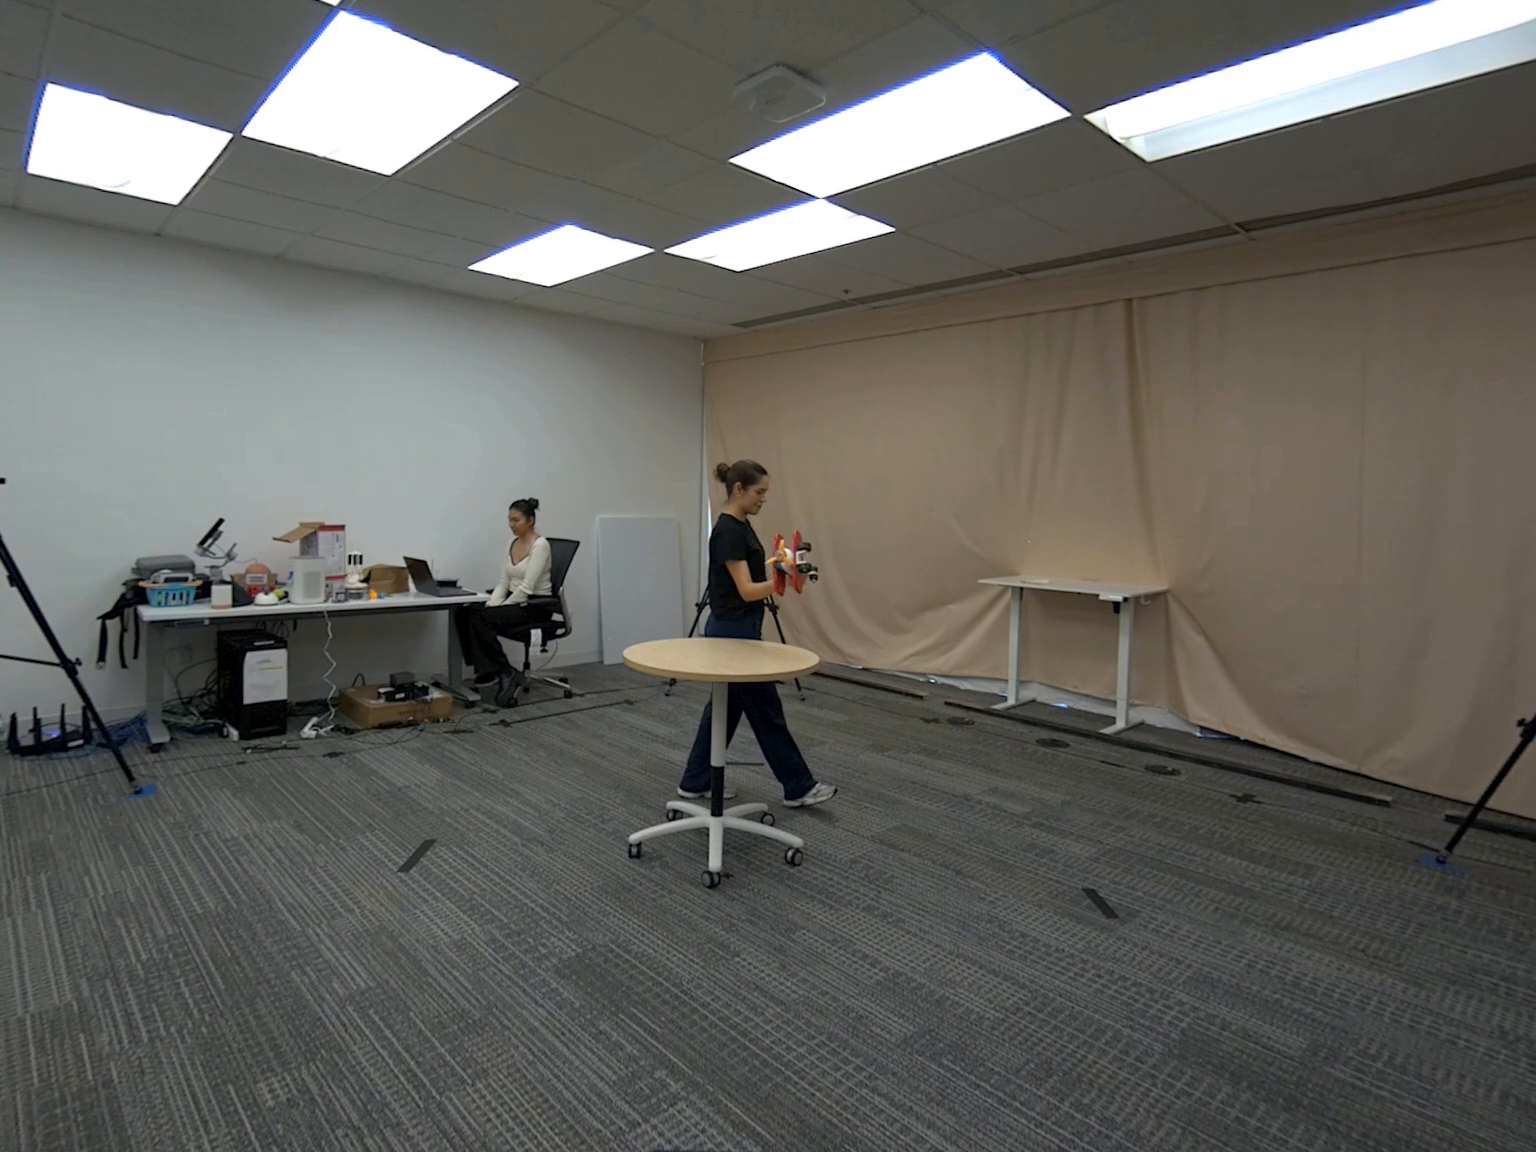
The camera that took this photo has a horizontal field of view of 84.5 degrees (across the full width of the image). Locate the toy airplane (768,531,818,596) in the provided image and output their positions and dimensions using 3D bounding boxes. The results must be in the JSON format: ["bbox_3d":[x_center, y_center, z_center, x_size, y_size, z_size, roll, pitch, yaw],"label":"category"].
[{"bbox_3d":[0.098,-0.024,3.315,0.158,0.252,0.255,-3,40,11],"label":"toy airplane"}]
